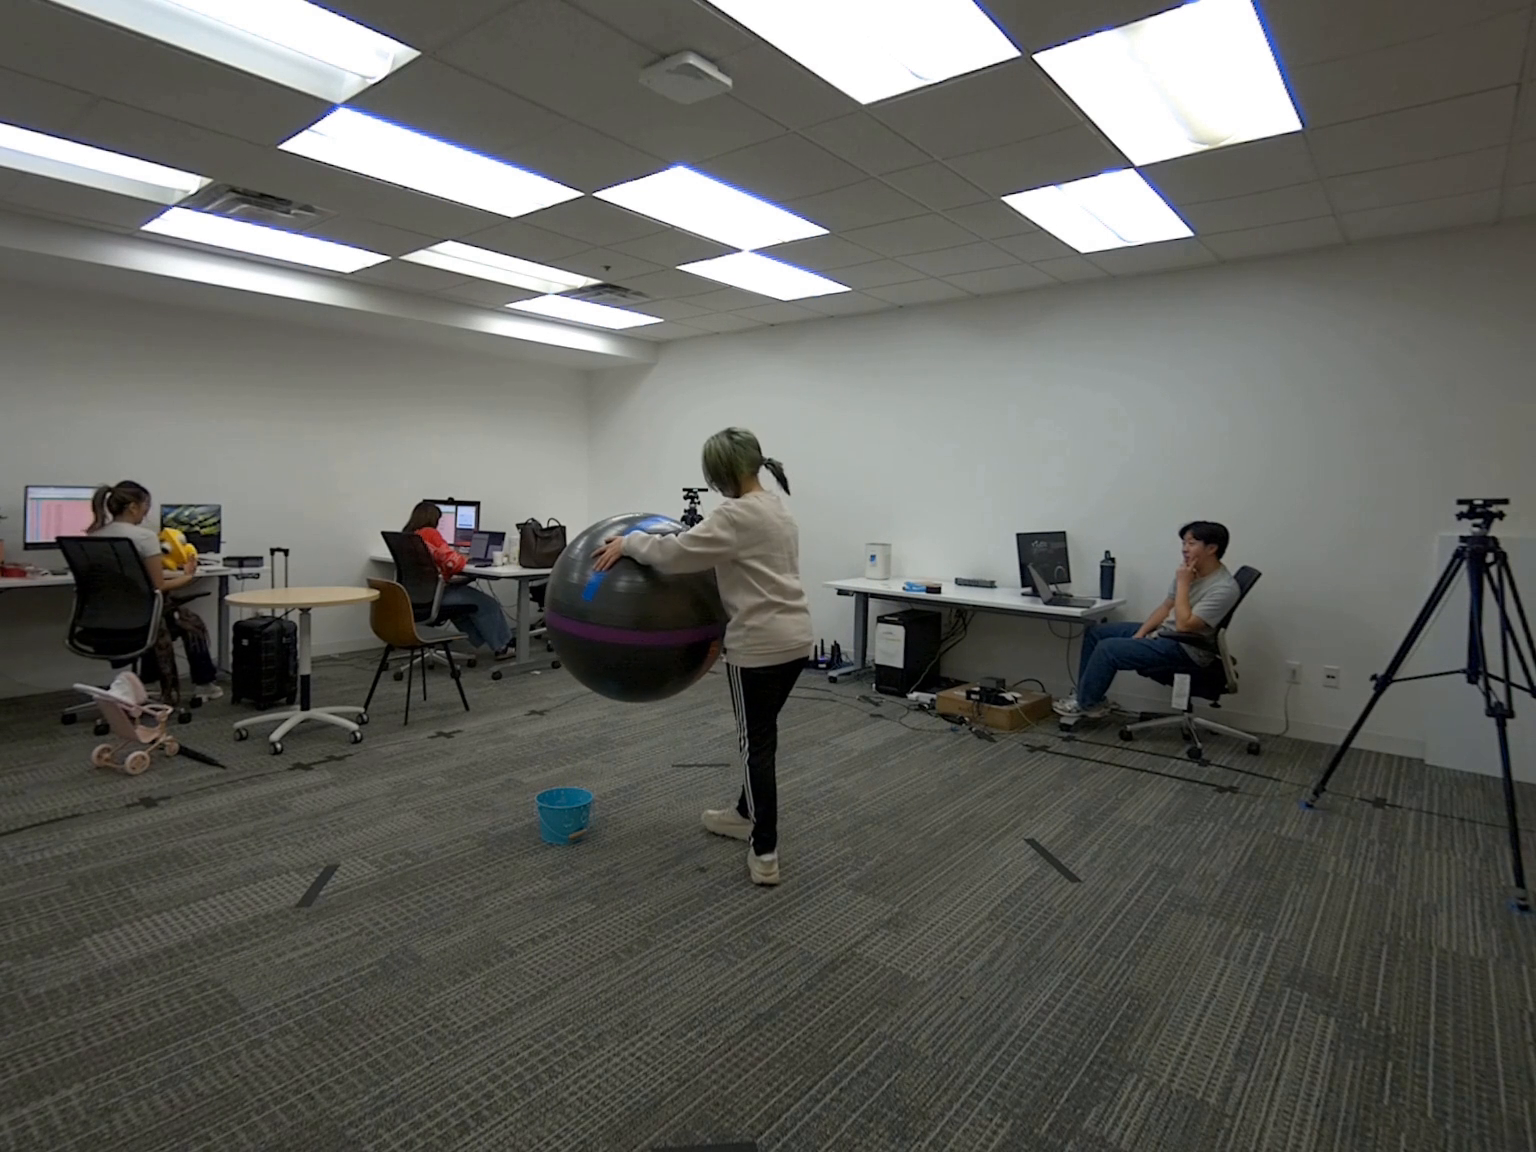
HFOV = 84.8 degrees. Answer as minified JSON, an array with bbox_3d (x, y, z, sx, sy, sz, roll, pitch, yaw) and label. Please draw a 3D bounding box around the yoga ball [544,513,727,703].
[{"bbox_3d":[-0.536,0.132,3.444,0.757,0.755,0.762,1,4,-2],"label":"yoga ball"}]
